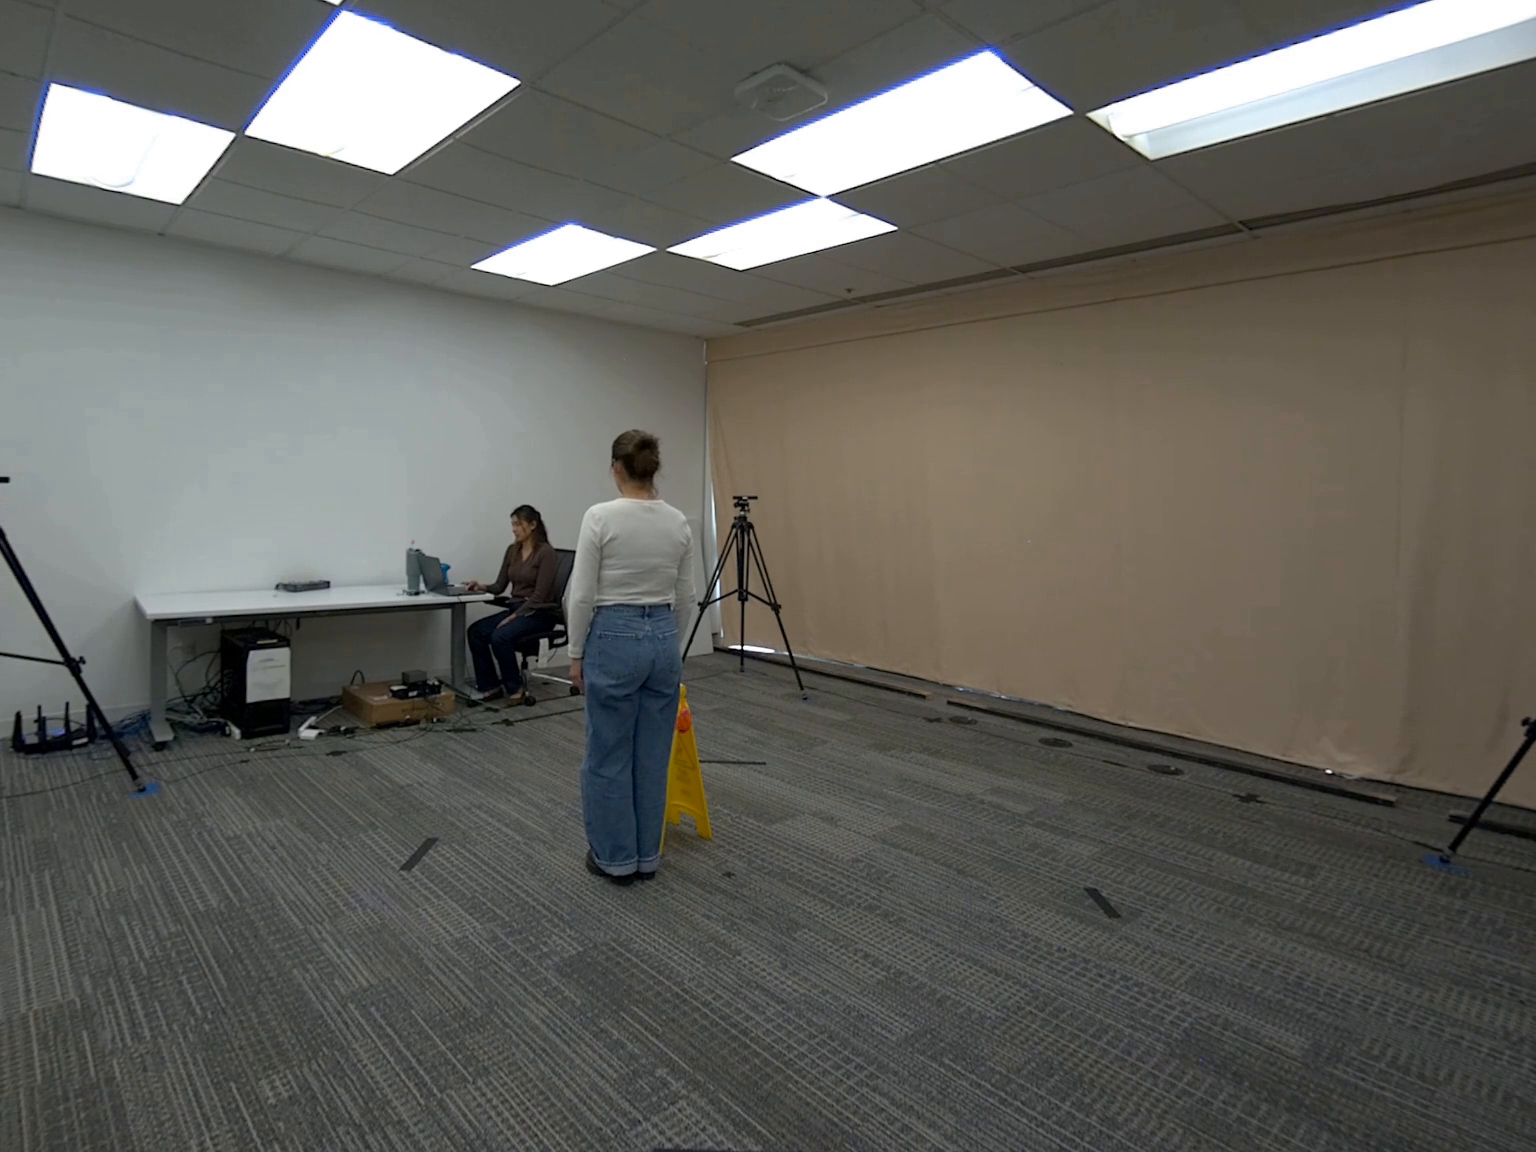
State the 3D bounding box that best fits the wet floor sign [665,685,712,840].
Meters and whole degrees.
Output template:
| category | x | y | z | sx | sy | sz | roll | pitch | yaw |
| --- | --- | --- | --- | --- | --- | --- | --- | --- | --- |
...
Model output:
| category | x | y | z | sx | sy | sz | roll | pitch | yaw |
| --- | --- | --- | --- | --- | --- | --- | --- | --- | --- |
| wet floor sign | -0.419 | 0.748 | 3.417 | 0.283 | 0.645 | 0.289 | 0 | 4 | -44 |
